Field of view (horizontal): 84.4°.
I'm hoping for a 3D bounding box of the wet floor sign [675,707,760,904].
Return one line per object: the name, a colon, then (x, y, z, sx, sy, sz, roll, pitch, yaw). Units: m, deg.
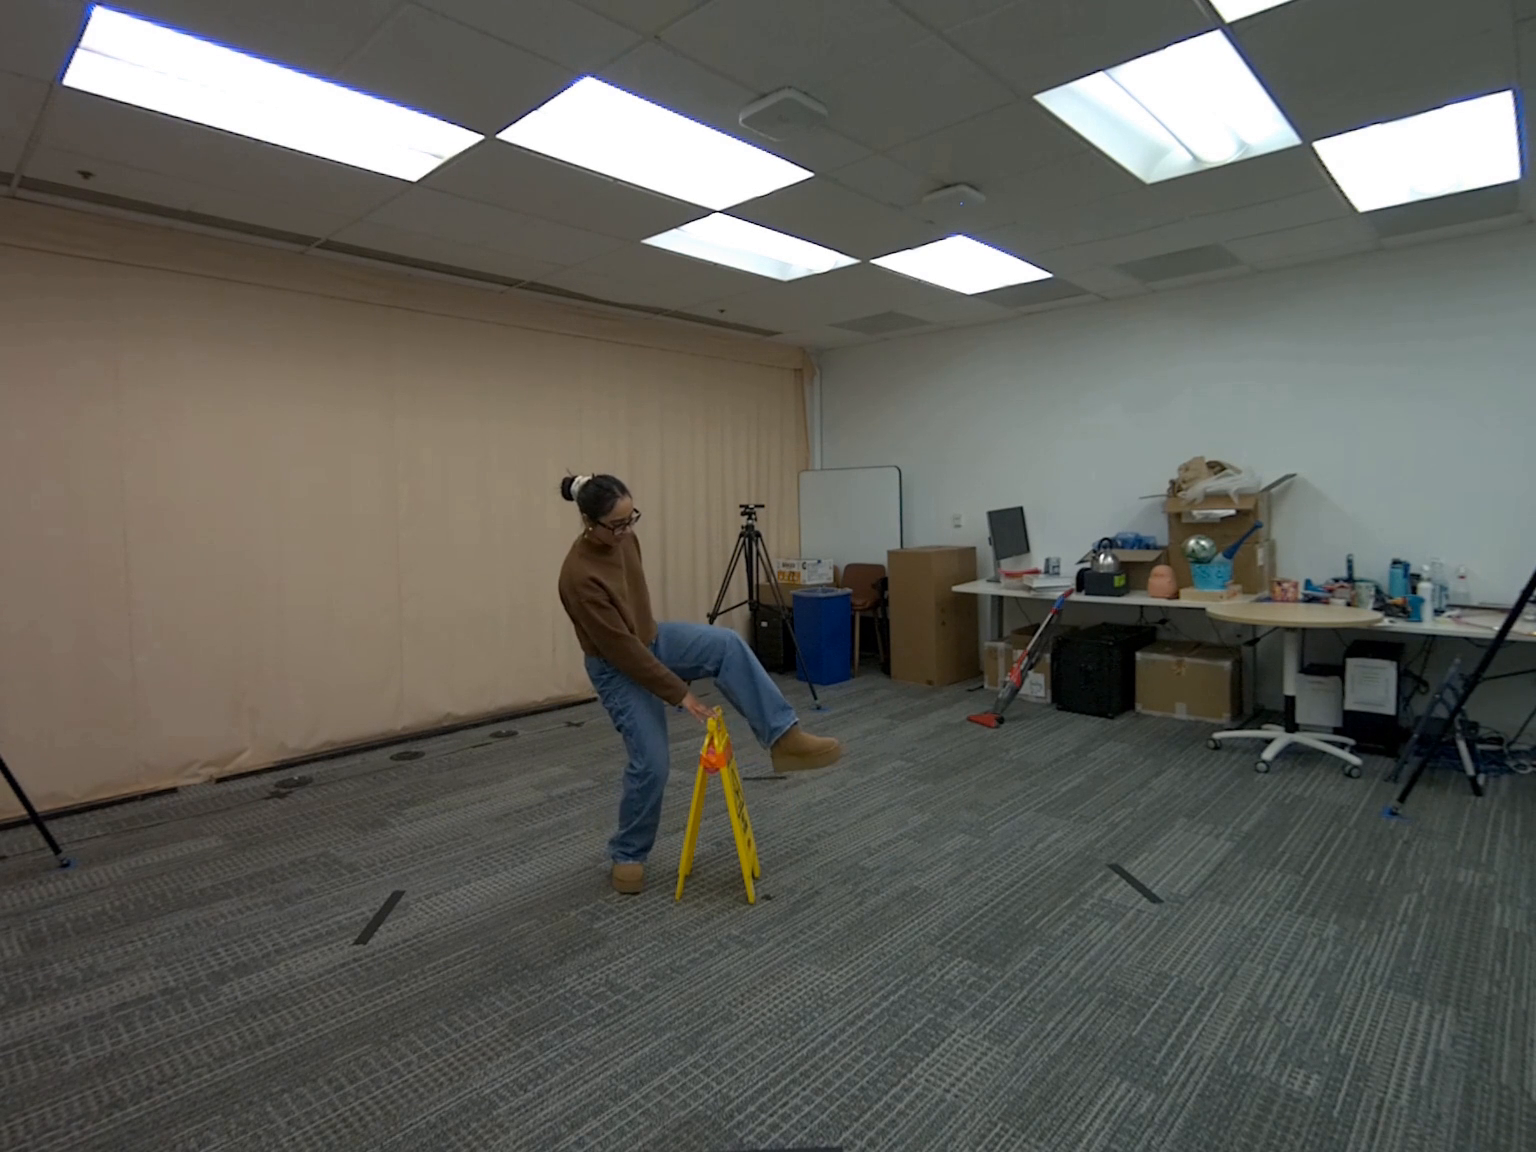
wet floor sign: (-0.188, 0.824, 3.057, 0.292, 0.644, 0.280, -2, 4, 7)
